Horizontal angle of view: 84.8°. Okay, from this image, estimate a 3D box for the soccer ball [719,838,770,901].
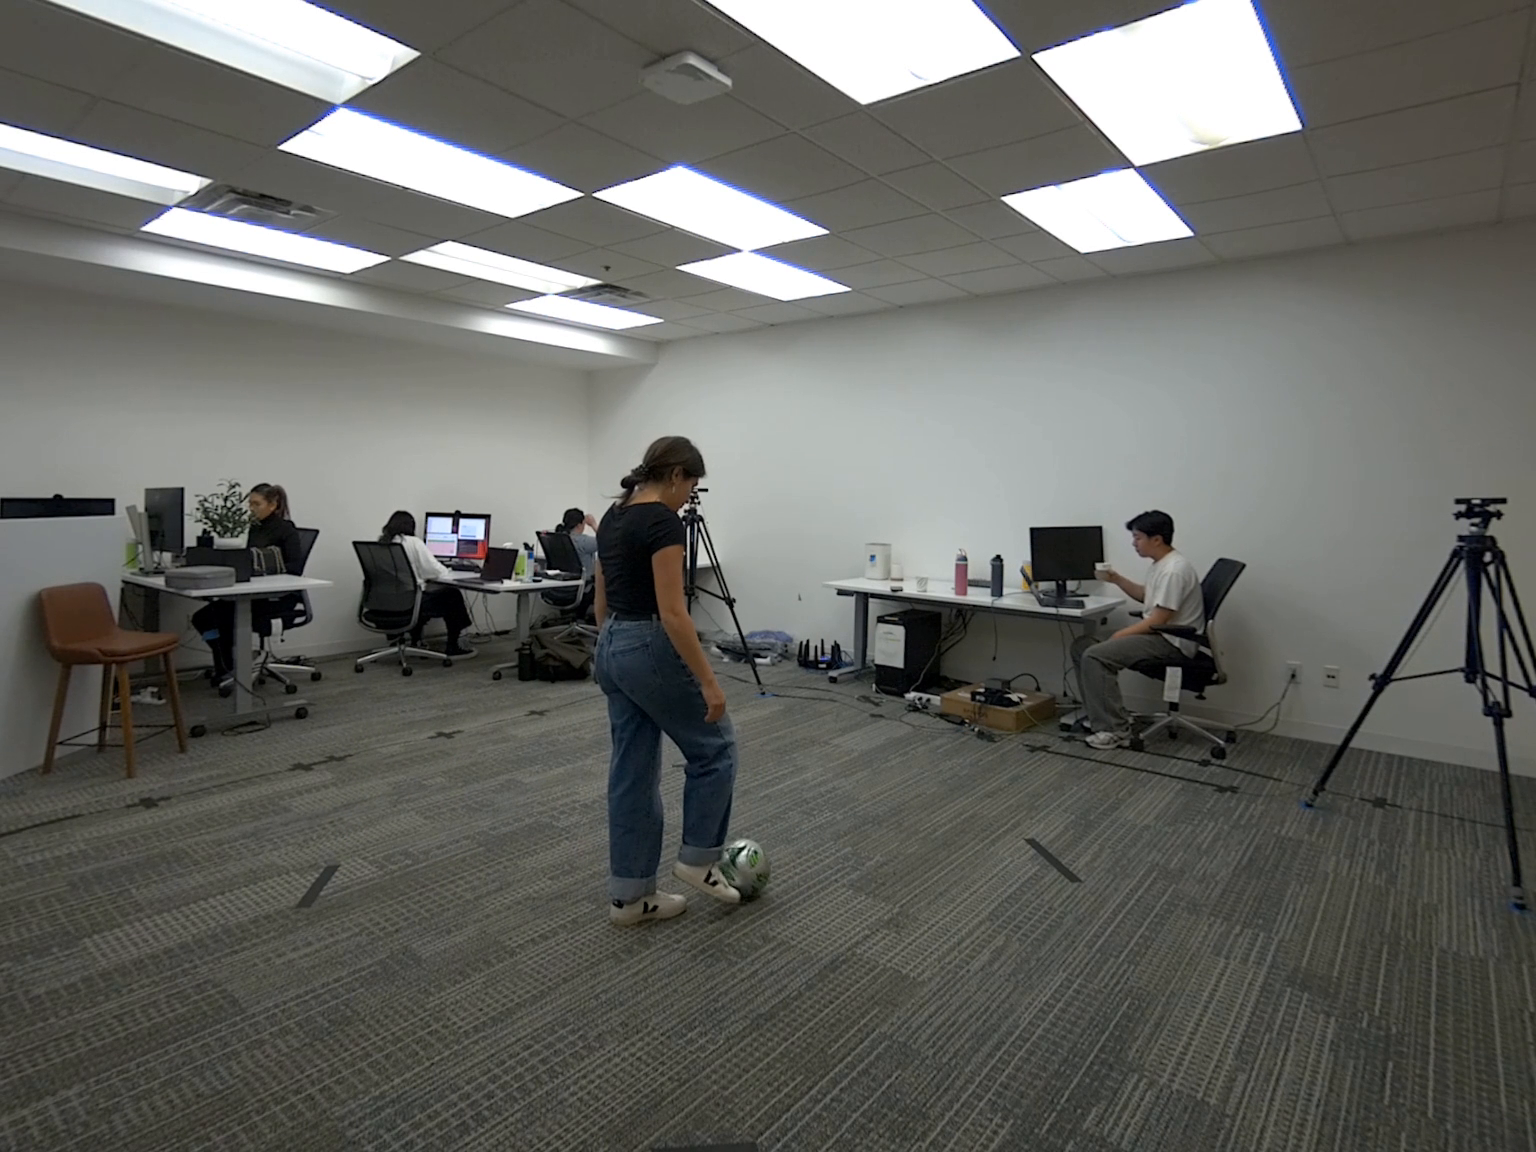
[{"bbox_3d":[-0.081,0.990,2.920,0.187,0.187,0.188,1,4,-2],"label":"soccer ball"}]
